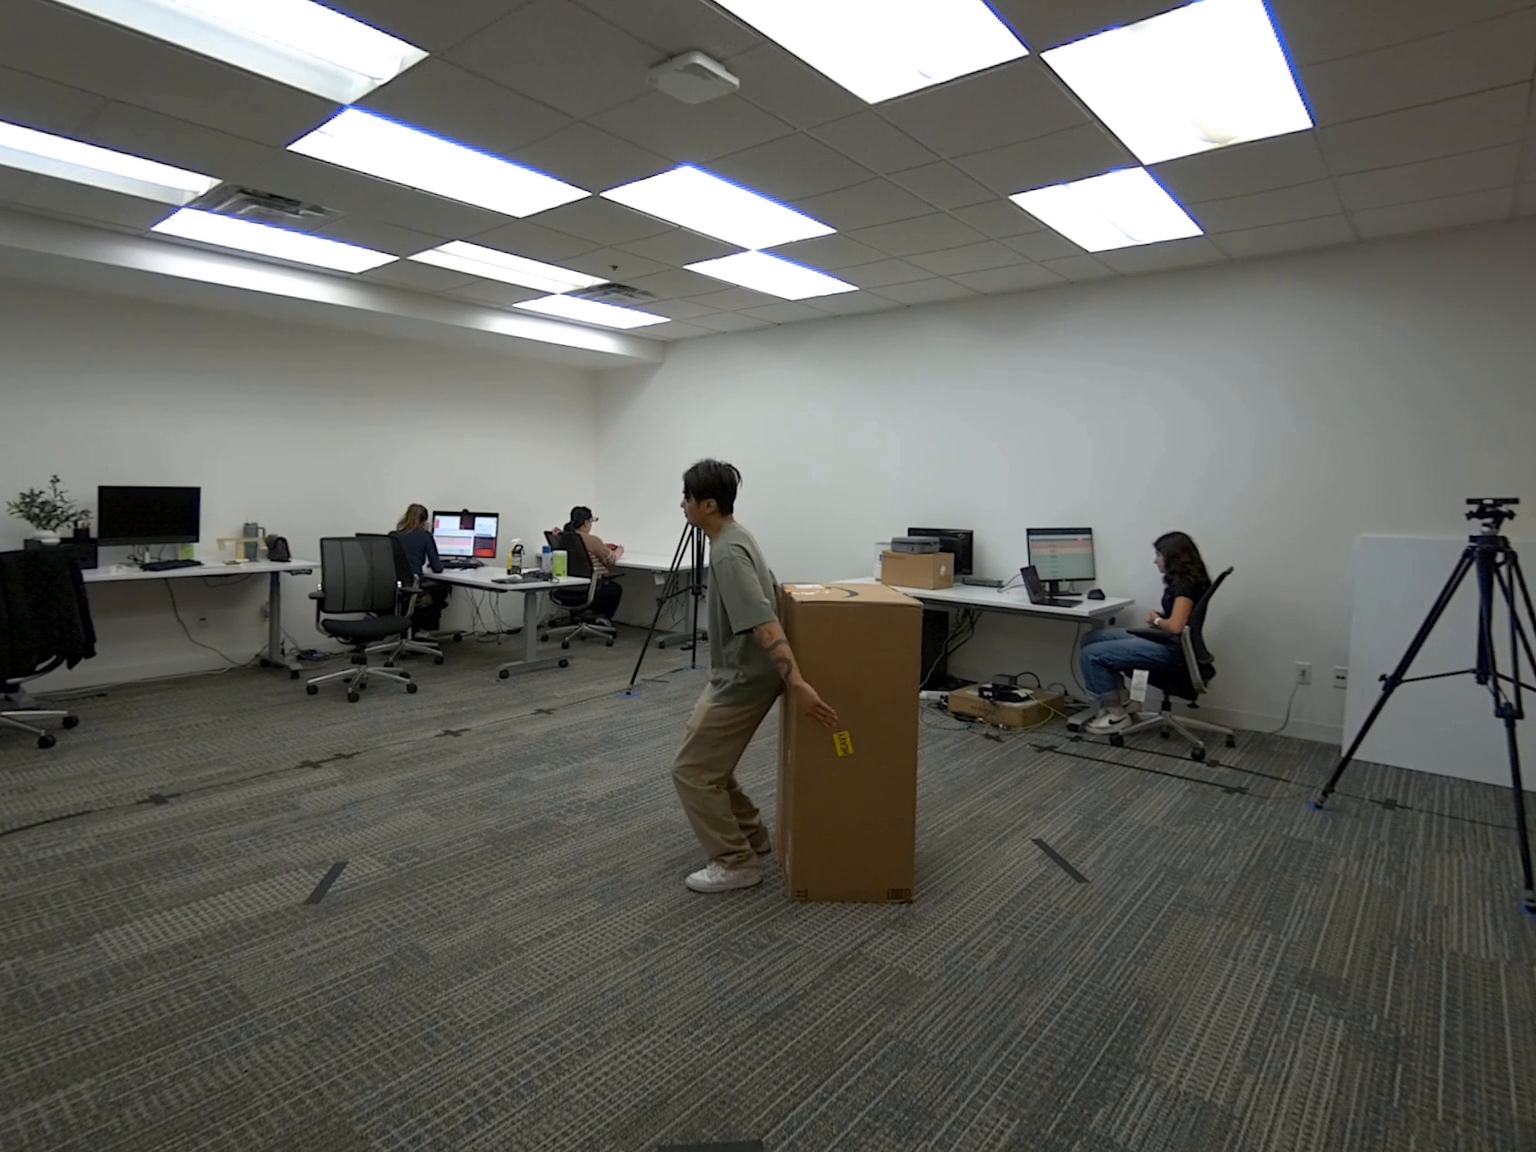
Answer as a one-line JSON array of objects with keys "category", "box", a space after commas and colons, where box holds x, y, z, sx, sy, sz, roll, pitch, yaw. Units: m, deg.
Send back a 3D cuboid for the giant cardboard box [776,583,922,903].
[{"category": "giant cardboard box", "box": [0.271, 0.568, 3.134, 0.425, 1.023, 0.581, 1, 3, -3]}]
